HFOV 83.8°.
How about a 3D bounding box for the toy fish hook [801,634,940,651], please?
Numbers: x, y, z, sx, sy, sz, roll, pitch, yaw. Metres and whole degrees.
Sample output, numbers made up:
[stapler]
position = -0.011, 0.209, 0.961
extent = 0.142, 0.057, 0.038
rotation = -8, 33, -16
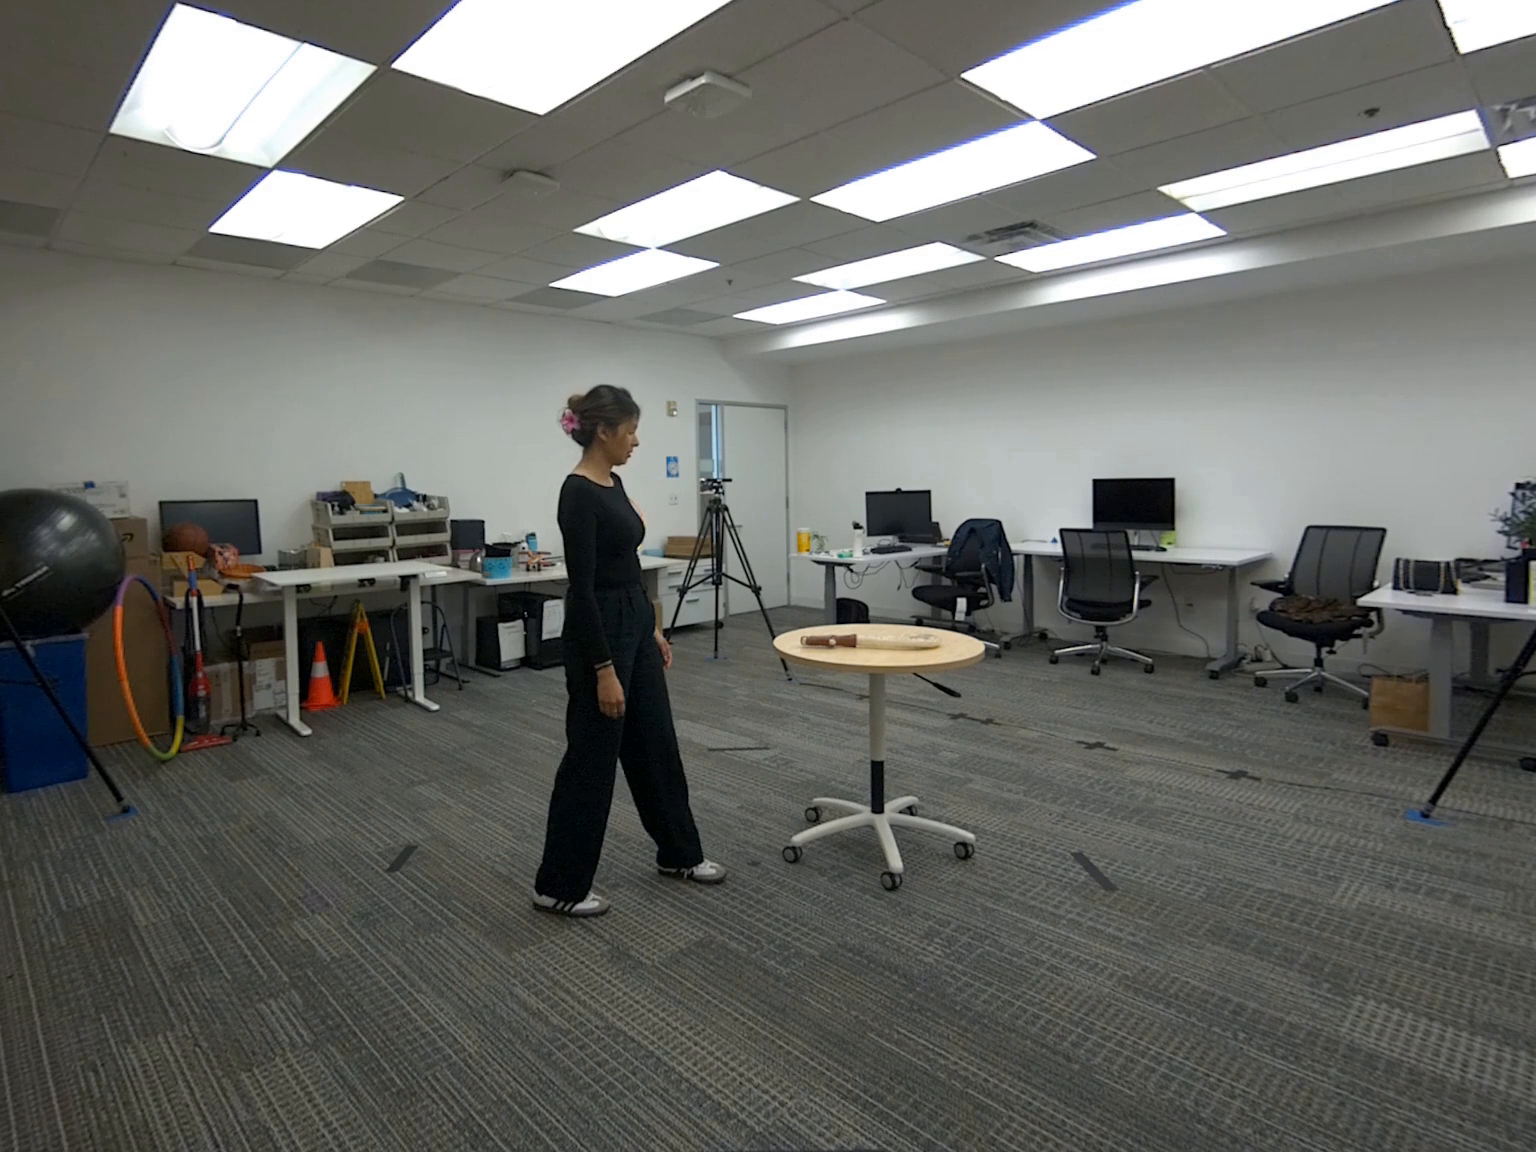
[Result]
[toy fish hook]
position = 0.373, 0.237, 3.130
extent = 0.508, 0.048, 0.223
rotation = 1, -1, 3
